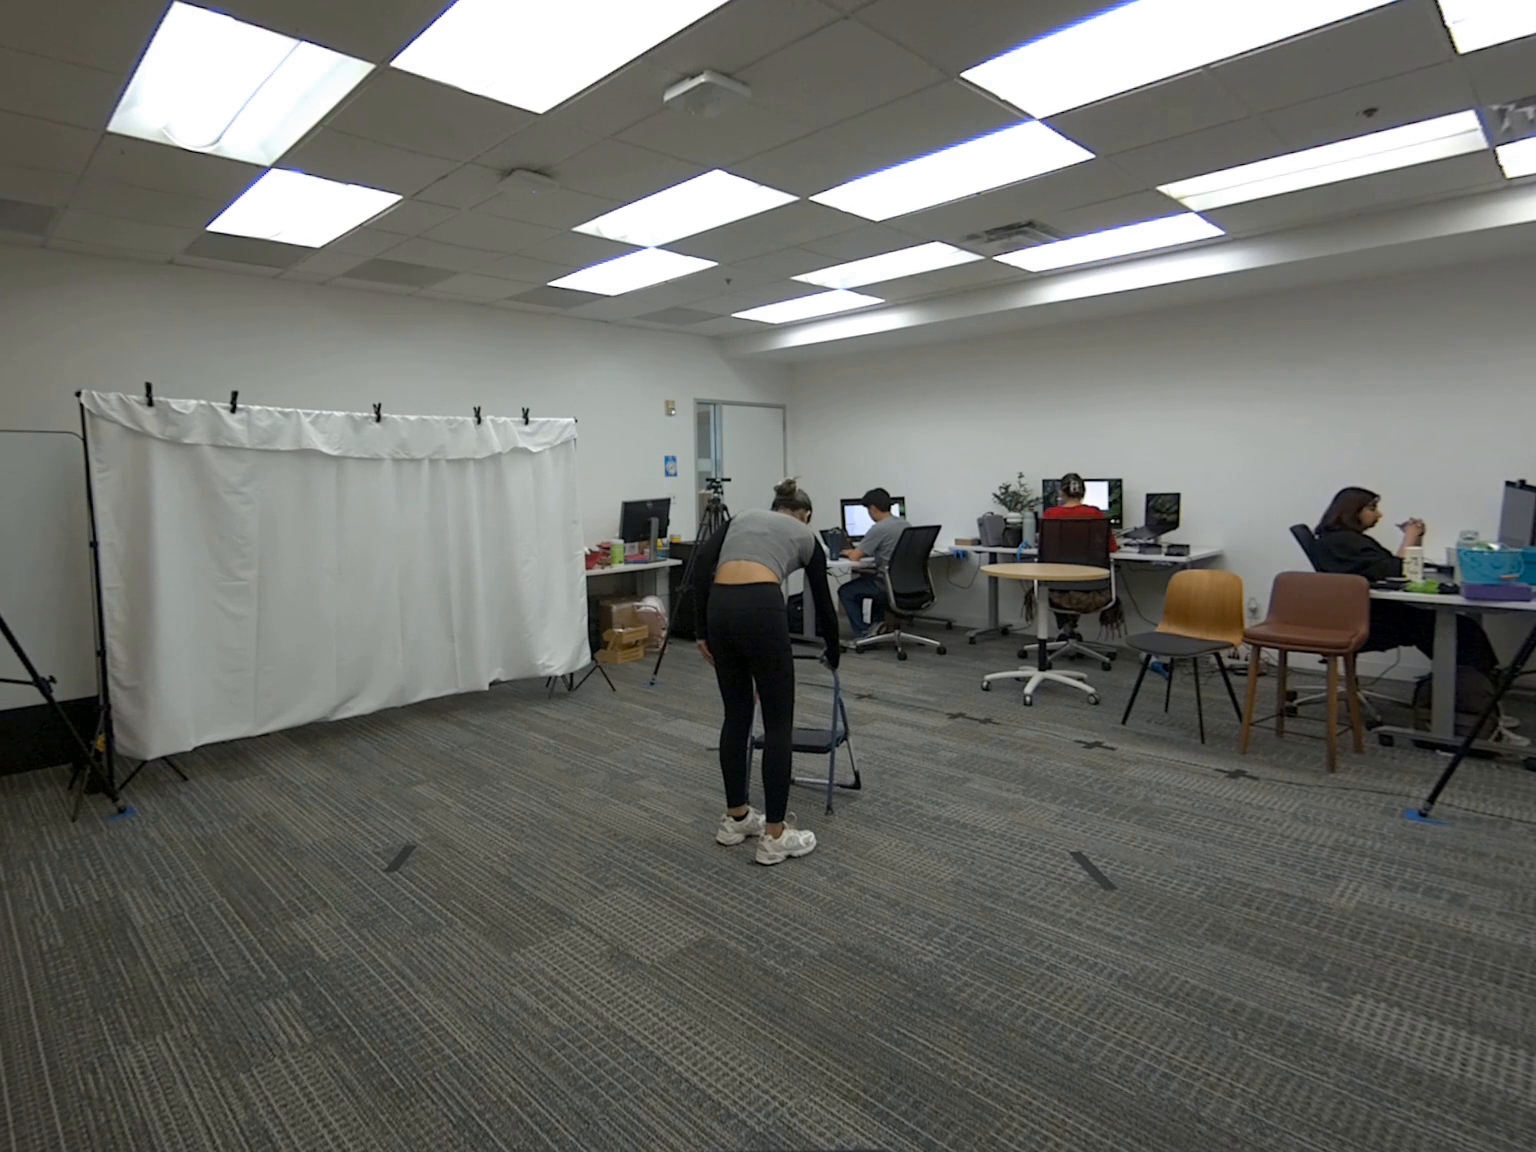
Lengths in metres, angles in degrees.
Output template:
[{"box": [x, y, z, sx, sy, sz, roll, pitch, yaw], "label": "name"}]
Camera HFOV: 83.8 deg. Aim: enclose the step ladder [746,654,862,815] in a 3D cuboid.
[{"box": [0.132, 0.656, 3.701, 0.441, 0.605, 0.341, -3, 2, 31], "label": "step ladder"}]
